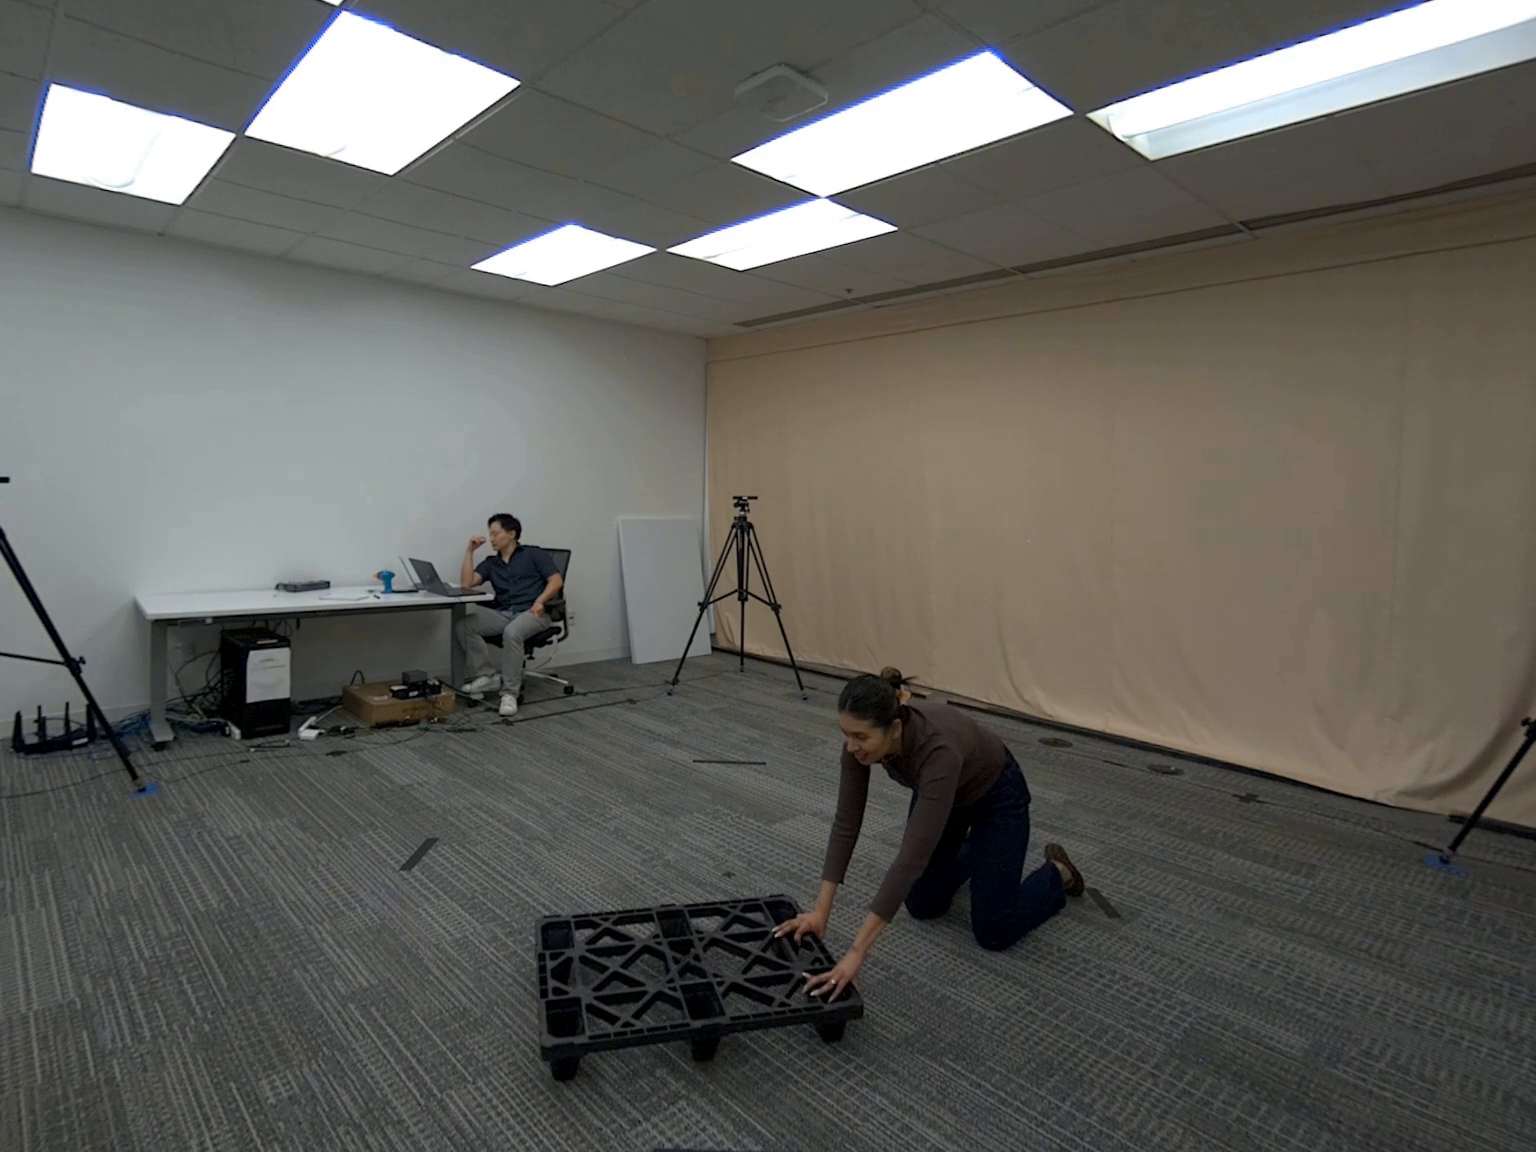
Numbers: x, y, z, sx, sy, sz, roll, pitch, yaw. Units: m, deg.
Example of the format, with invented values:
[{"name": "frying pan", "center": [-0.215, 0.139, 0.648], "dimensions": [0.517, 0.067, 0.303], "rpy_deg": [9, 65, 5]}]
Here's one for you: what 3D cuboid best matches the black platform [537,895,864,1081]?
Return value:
[{"name": "black platform", "center": [-0.218, 1.108, 2.295], "dimensions": [0.796, 0.143, 0.614], "rpy_deg": [0, 6, -15]}]
